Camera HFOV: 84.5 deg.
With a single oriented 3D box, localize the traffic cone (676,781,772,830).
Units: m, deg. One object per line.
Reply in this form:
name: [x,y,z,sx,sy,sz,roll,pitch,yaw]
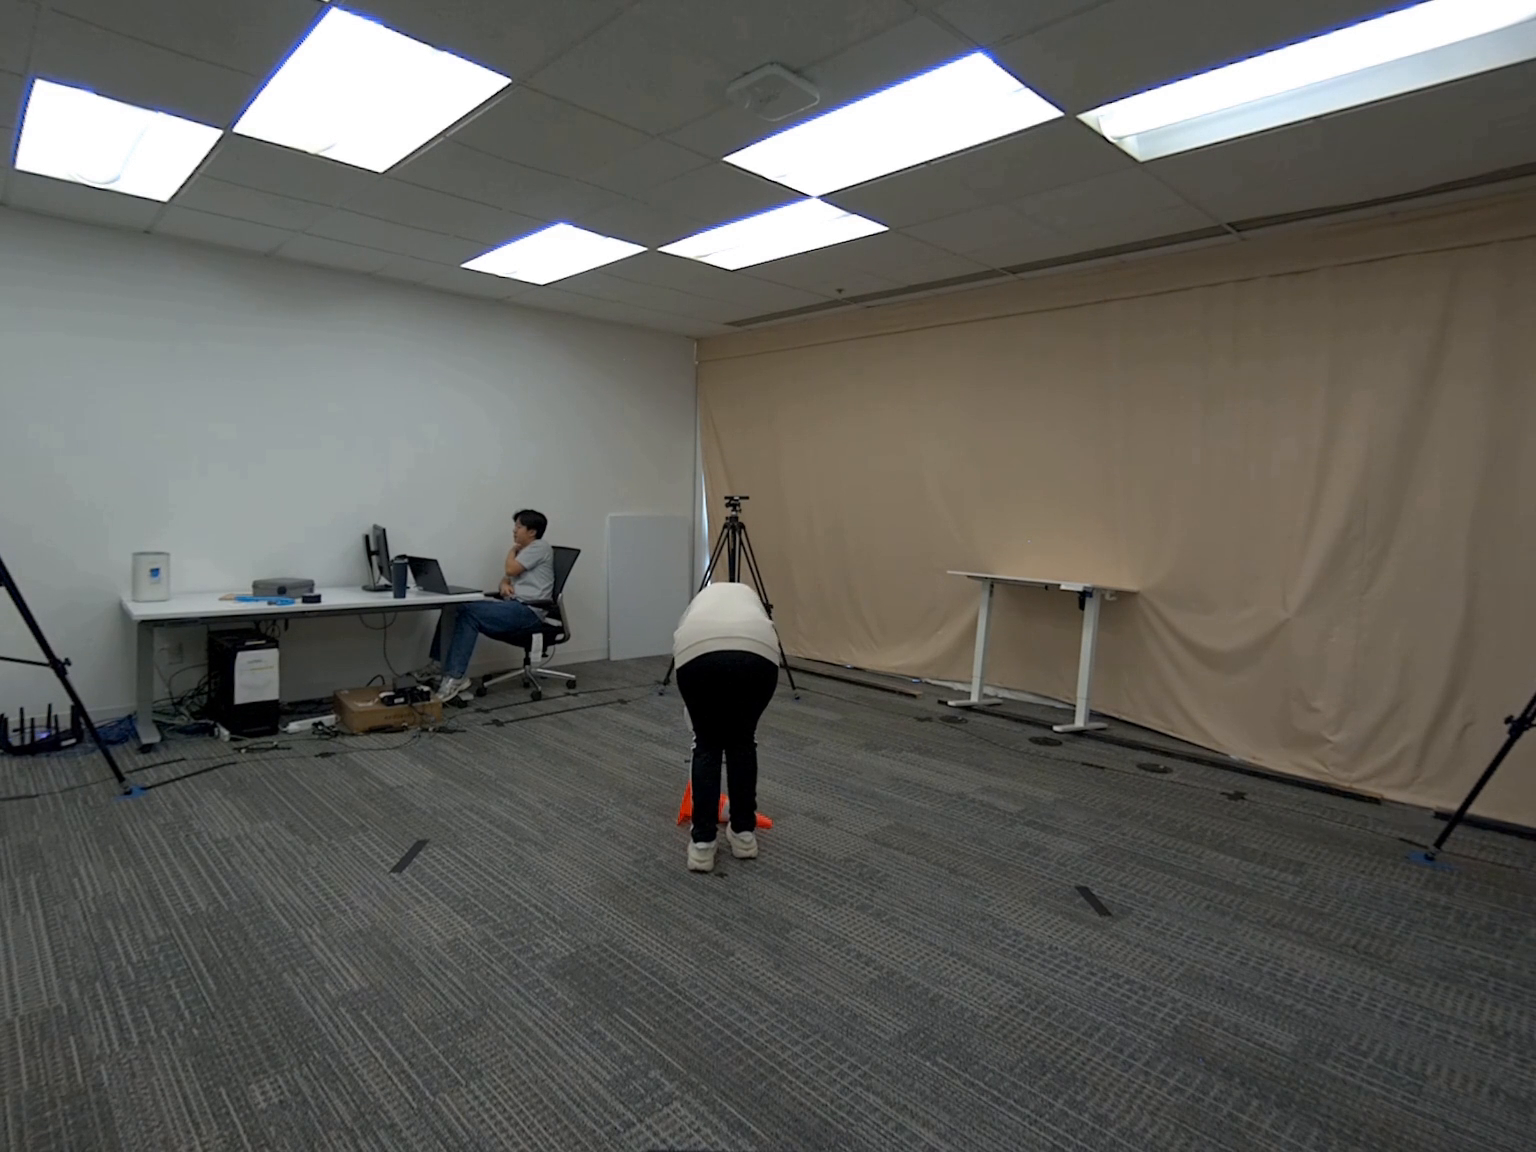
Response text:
traffic cone: [-0.176,1.011,3.618,0.388,0.204,0.202,17,10,11]
